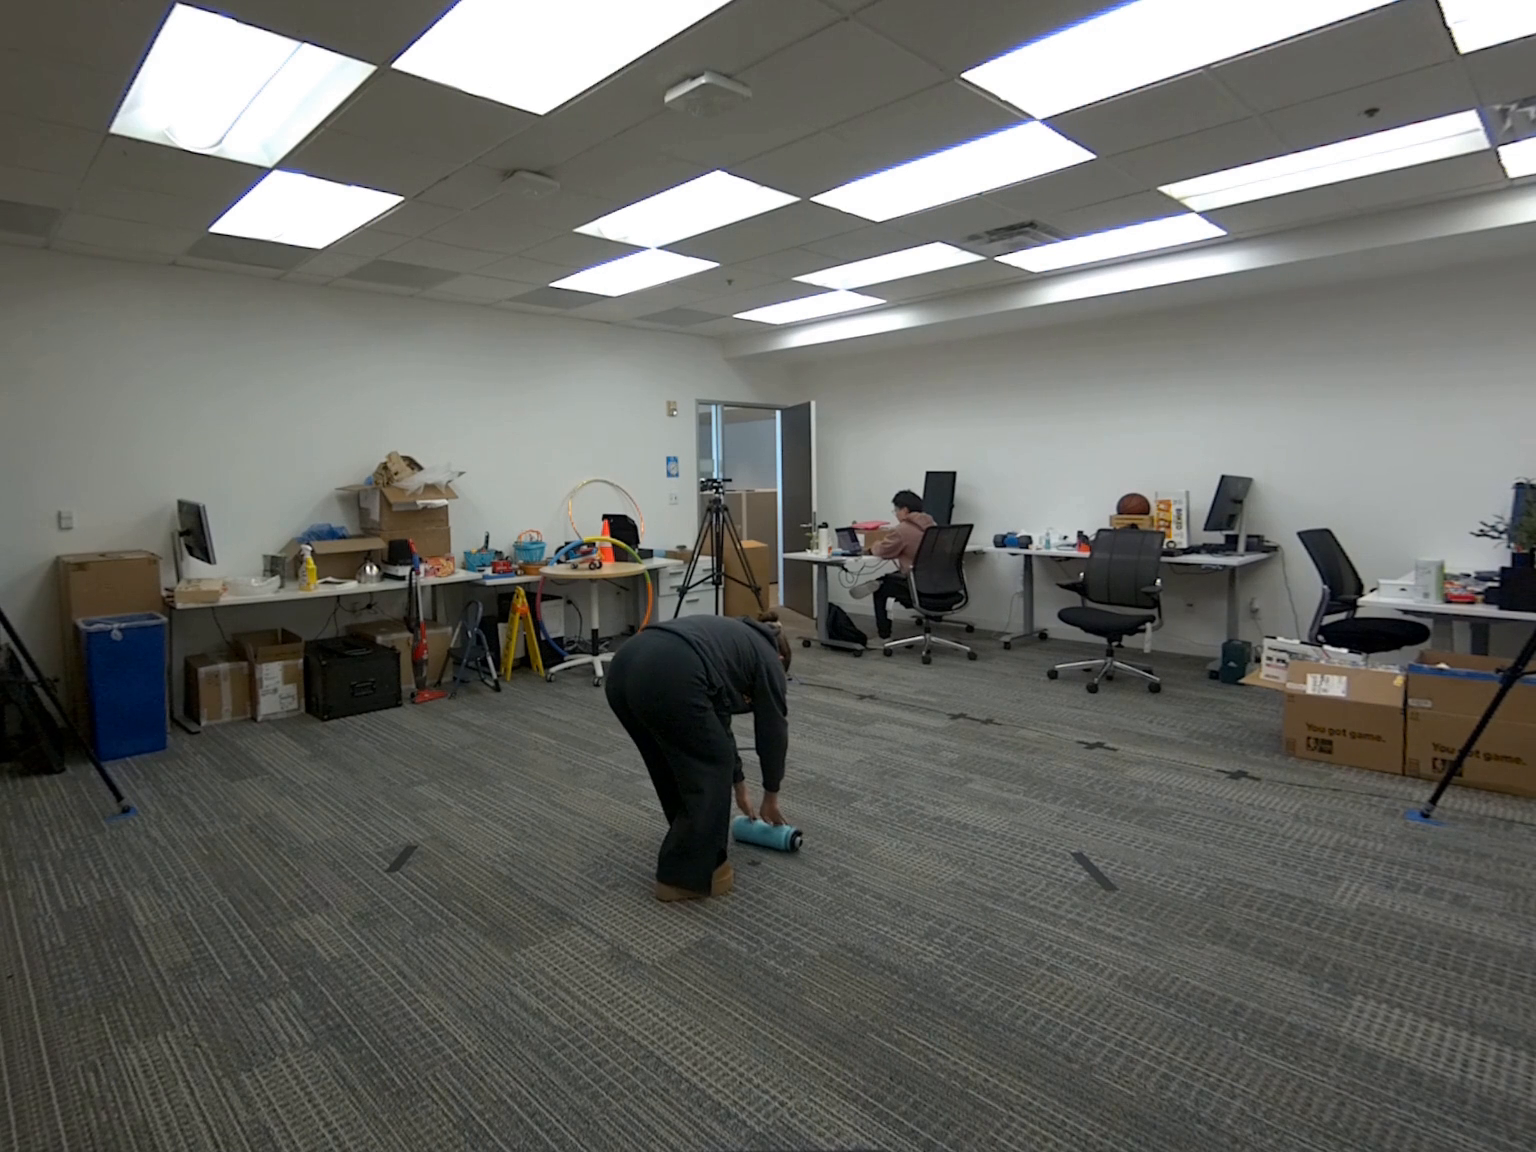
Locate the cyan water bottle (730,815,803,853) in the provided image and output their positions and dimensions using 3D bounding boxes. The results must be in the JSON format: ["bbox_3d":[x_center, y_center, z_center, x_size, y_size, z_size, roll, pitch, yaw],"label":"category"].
[{"bbox_3d":[-0.001,0.986,3.238,0.291,0.092,0.090,6,7,31],"label":"cyan water bottle"}]
